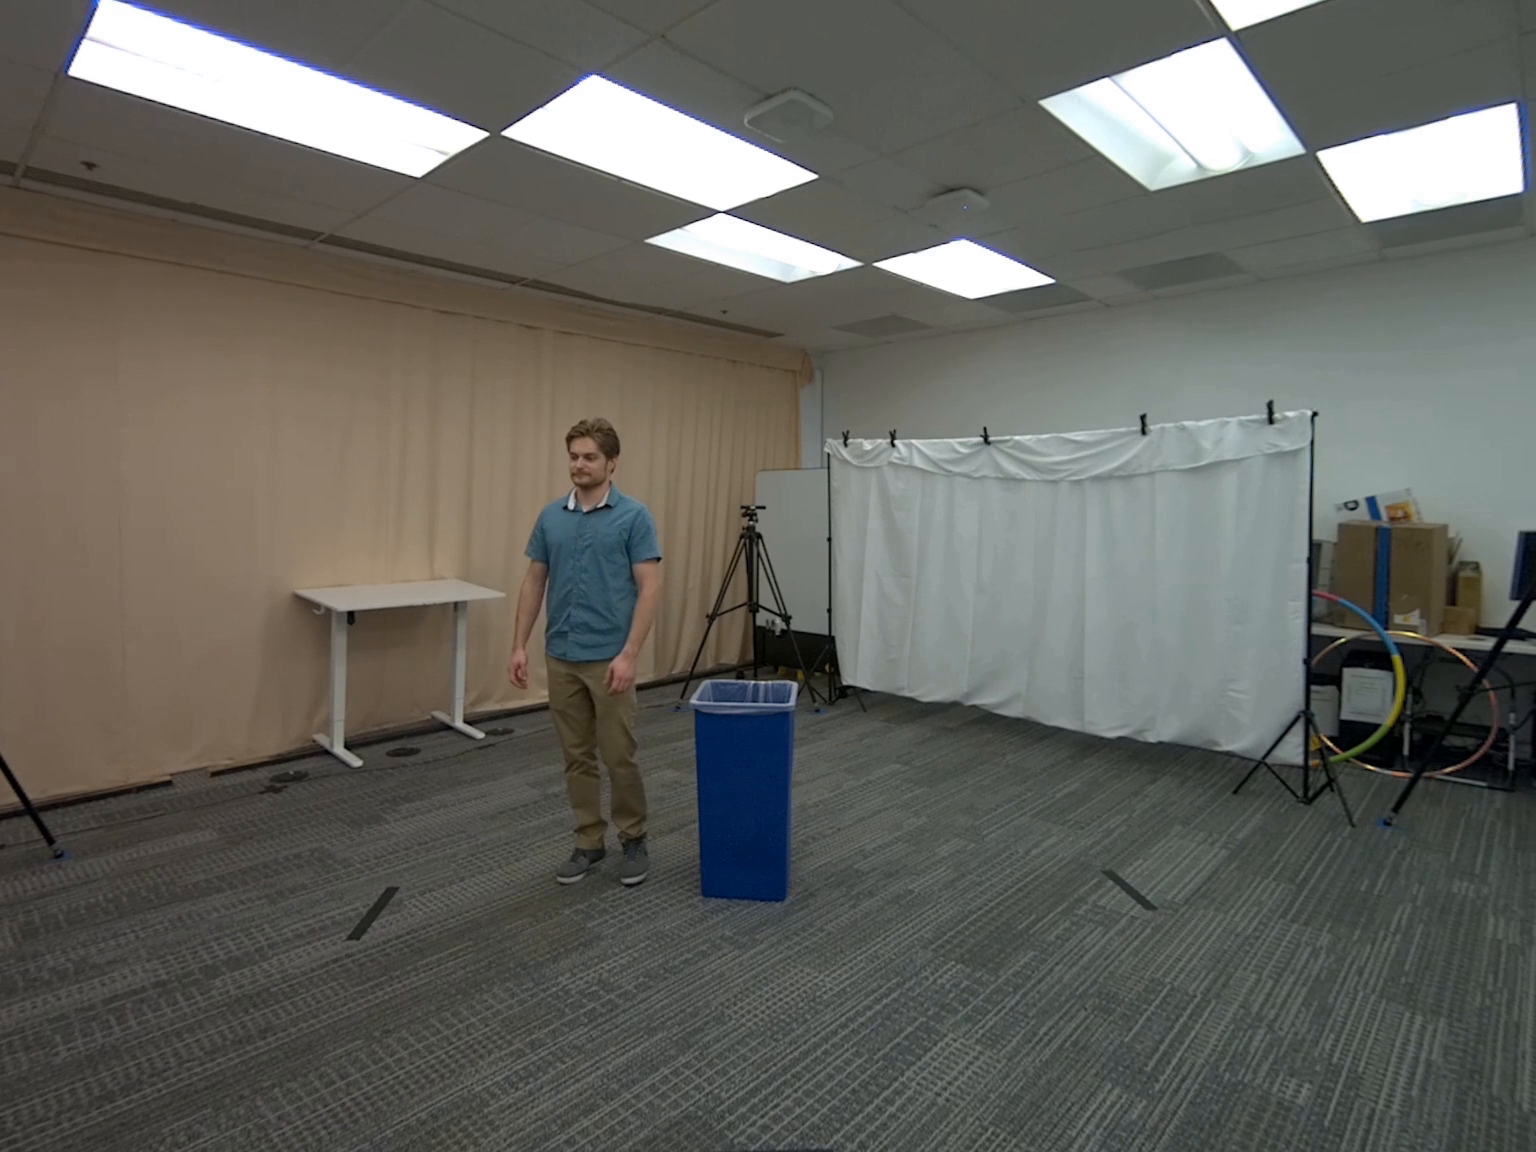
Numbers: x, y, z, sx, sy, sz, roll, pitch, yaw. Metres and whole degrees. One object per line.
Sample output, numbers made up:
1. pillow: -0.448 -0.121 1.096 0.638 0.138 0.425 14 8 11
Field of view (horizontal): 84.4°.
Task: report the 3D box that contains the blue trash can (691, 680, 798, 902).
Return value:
1. blue trash can: -0.084 0.776 3.095 0.377 0.712 0.376 1 4 5
